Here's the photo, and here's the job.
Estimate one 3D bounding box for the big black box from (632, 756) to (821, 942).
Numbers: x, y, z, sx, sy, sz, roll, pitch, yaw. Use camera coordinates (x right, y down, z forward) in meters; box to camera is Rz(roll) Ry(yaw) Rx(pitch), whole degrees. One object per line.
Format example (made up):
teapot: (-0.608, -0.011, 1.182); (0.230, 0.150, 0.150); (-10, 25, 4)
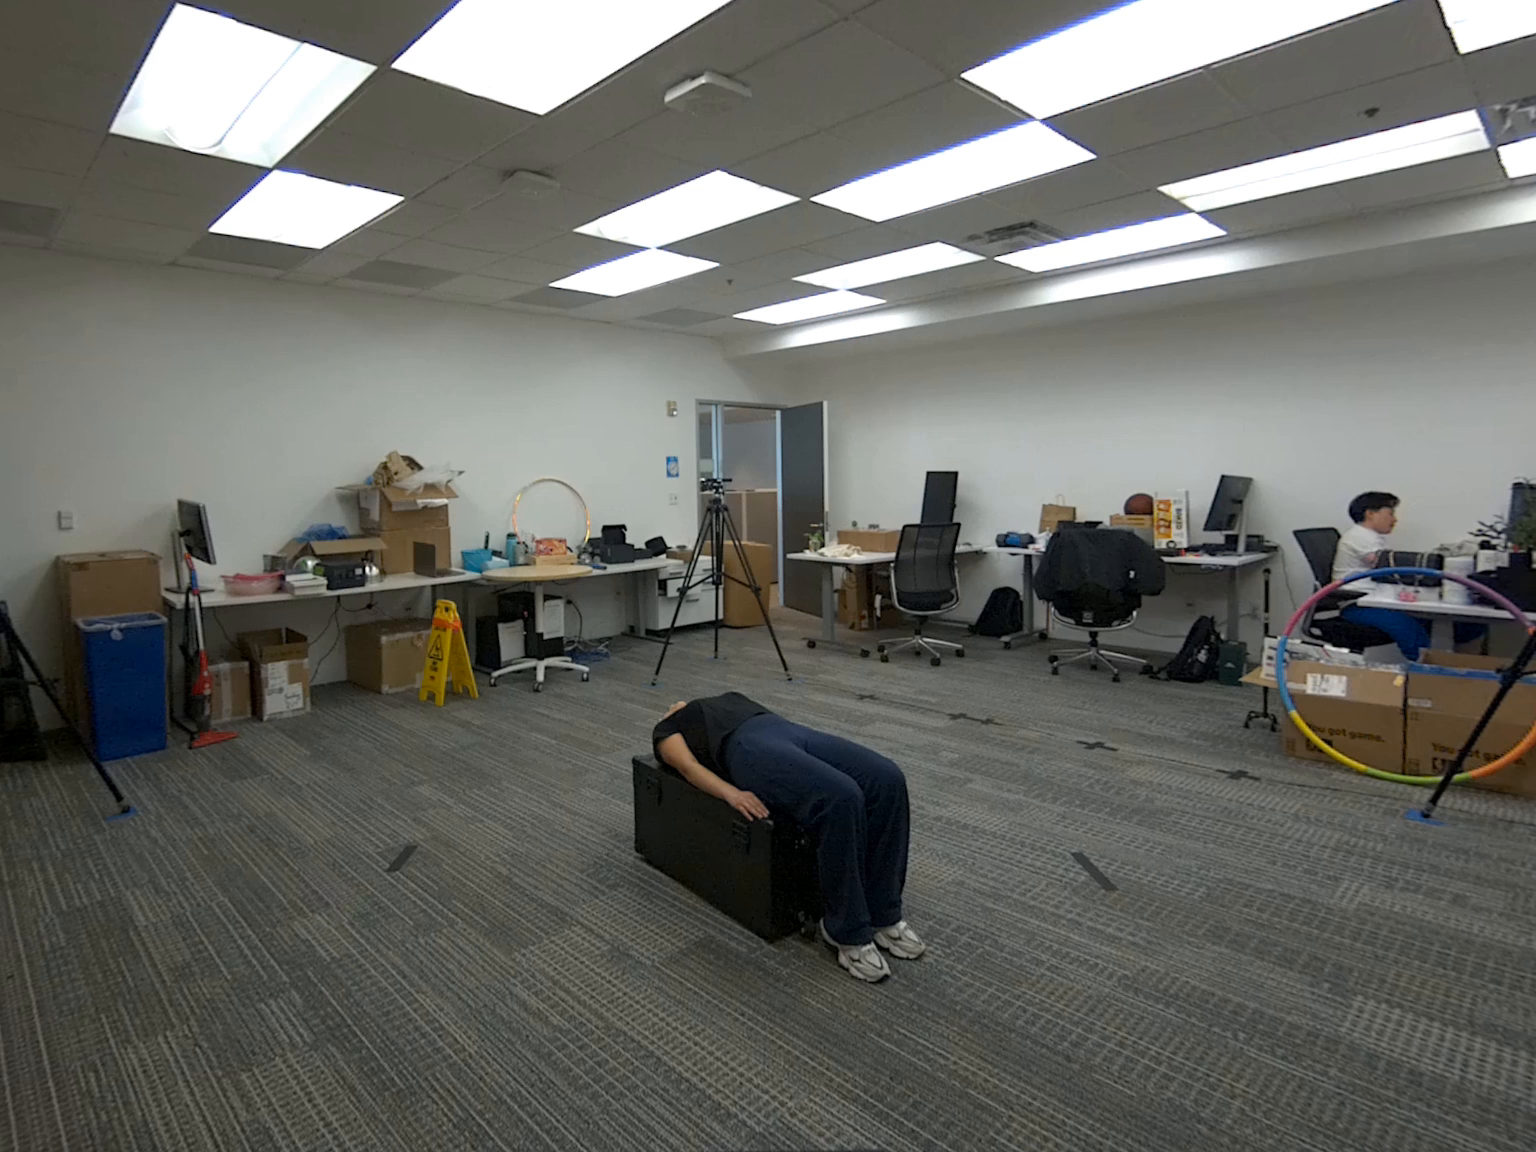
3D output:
big black box: (-0.079, 0.875, 3.032); (0.508, 0.394, 0.889); (-5, 9, -39)
